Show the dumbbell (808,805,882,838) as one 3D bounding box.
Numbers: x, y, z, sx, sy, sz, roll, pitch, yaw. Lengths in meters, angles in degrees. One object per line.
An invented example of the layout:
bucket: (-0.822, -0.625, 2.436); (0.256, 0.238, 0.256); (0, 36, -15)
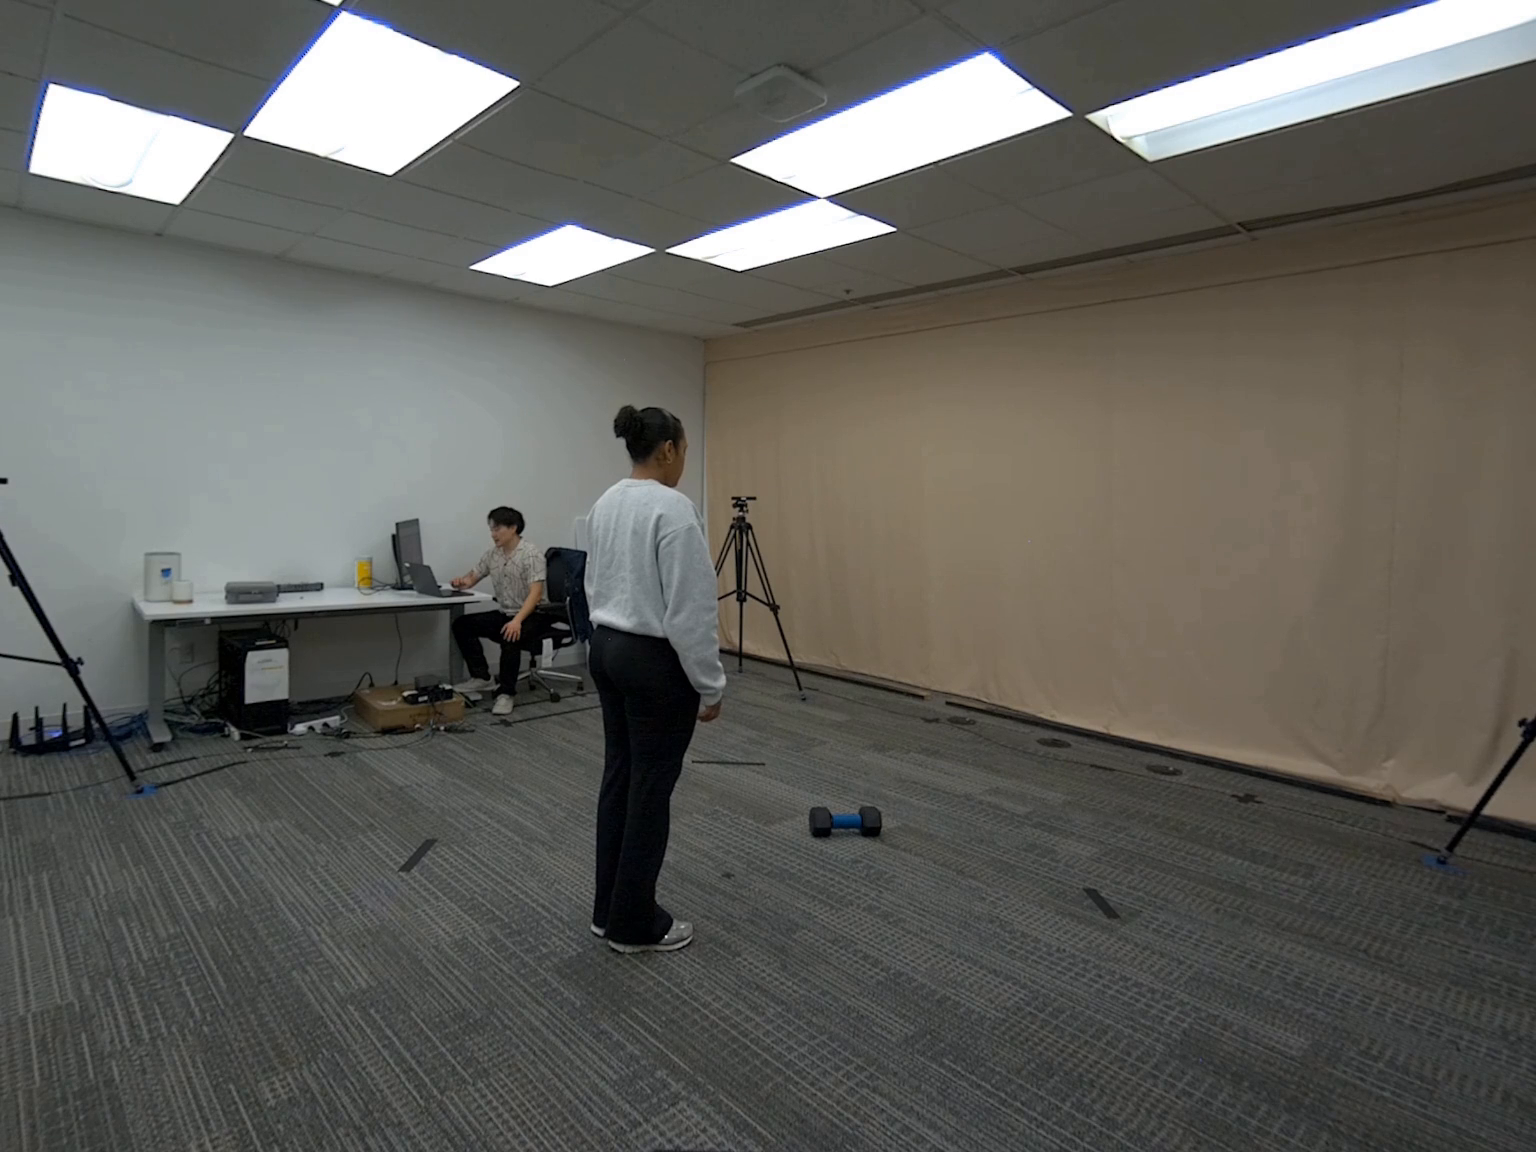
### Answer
dumbbell: (0.314, 1.029, 3.518); (0.292, 0.125, 0.107); (1, -25, -6)
